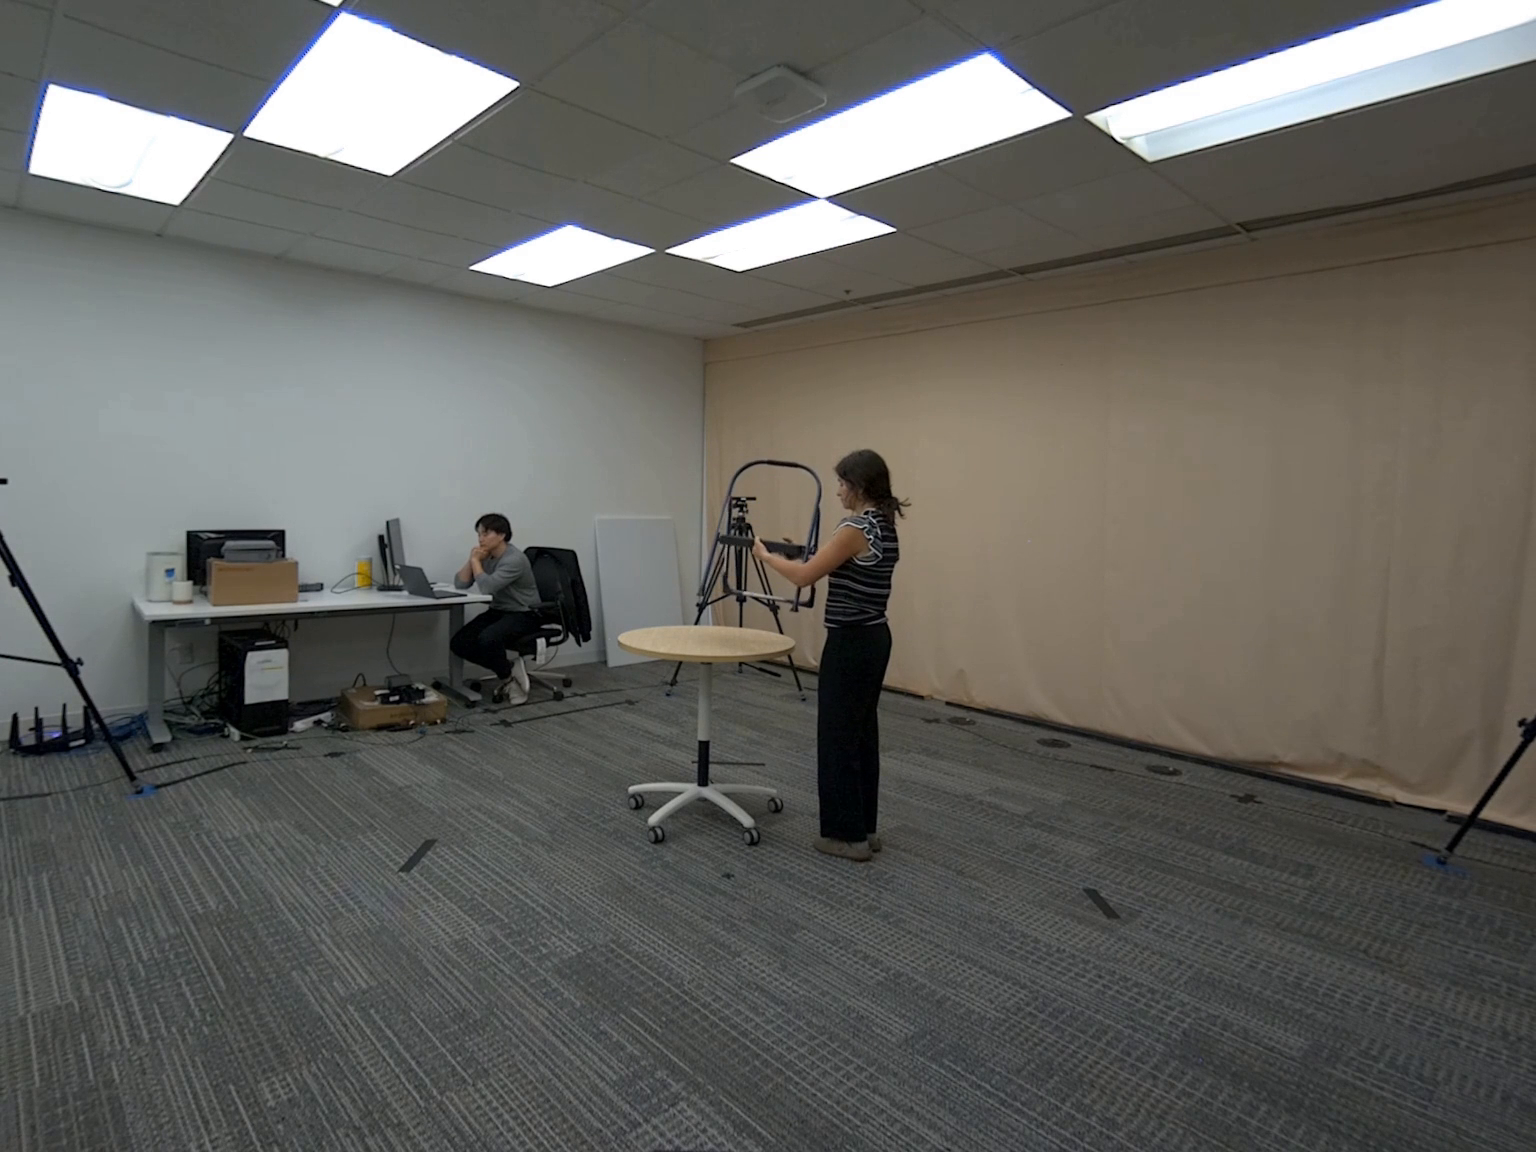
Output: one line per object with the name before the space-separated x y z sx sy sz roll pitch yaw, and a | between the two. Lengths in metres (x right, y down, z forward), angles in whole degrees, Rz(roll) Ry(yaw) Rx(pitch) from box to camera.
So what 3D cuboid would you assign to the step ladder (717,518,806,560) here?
step ladder | -0.010 -0.194 3.515 0.436 0.606 0.345 8 0 13
